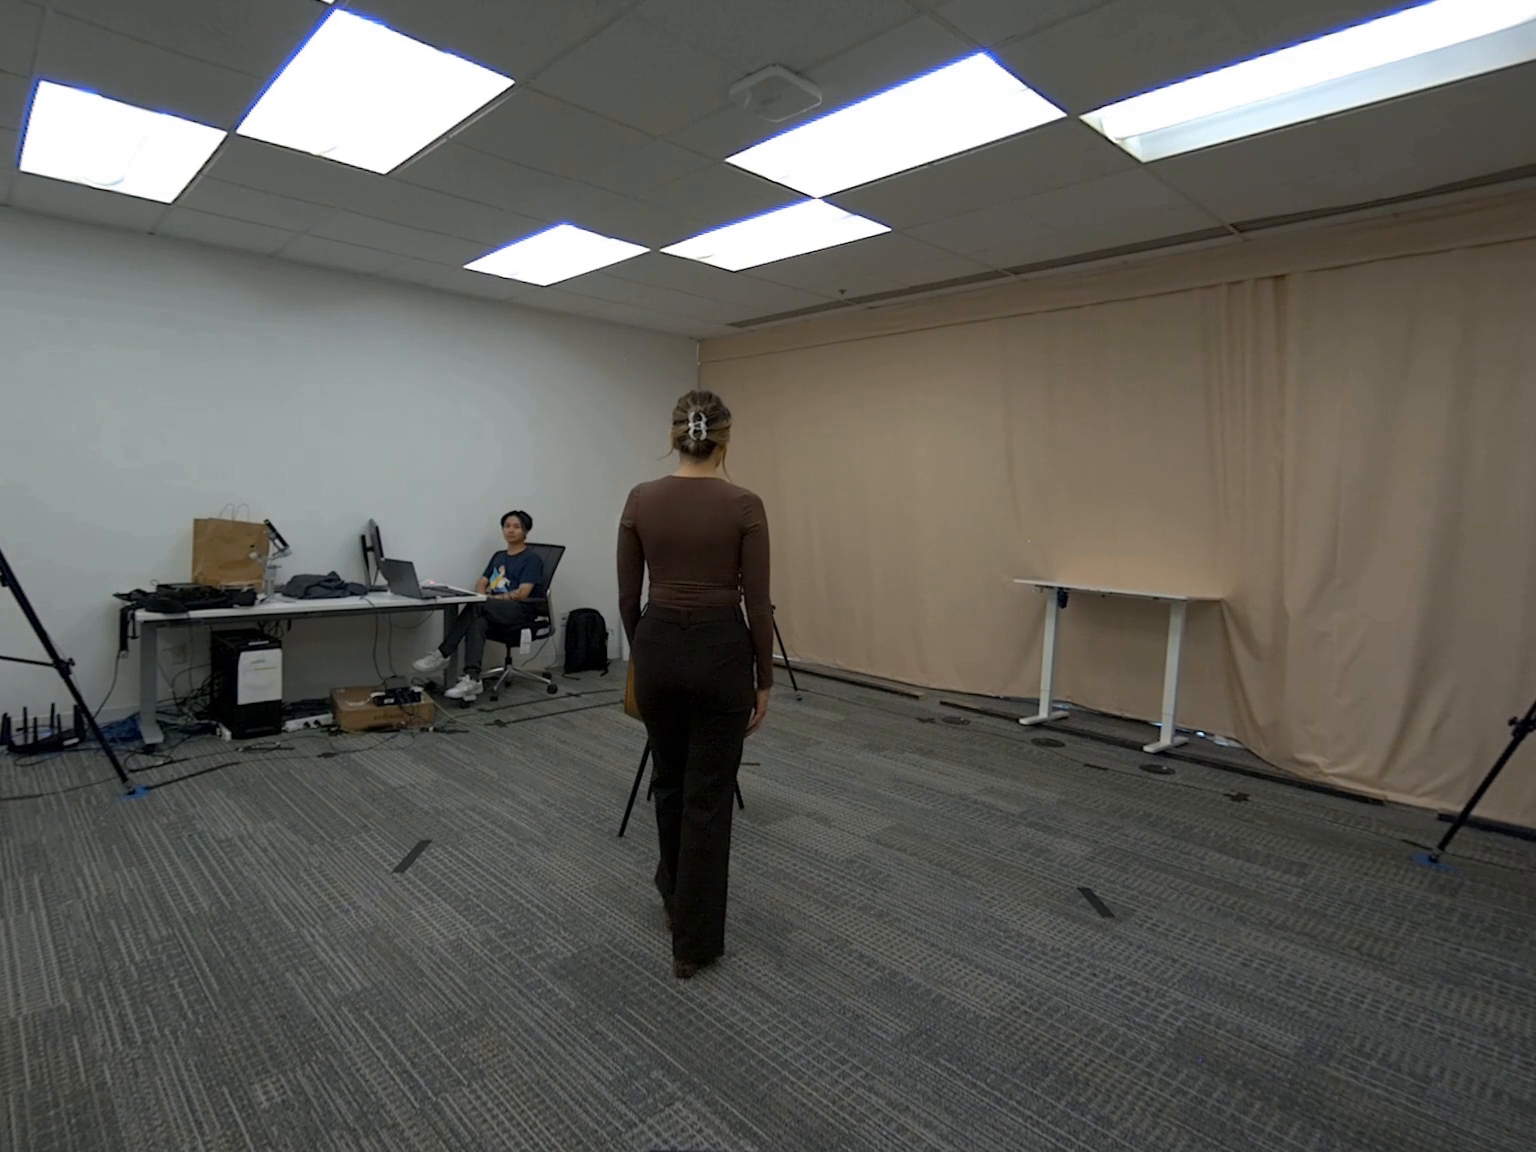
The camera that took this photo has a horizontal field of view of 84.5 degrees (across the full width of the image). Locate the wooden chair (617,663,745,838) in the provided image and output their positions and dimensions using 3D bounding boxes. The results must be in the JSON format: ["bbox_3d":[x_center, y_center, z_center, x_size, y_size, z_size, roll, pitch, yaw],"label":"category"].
[{"bbox_3d":[-0.348,0.629,3.594,0.482,0.872,0.522,2,8,8],"label":"wooden chair"}]
